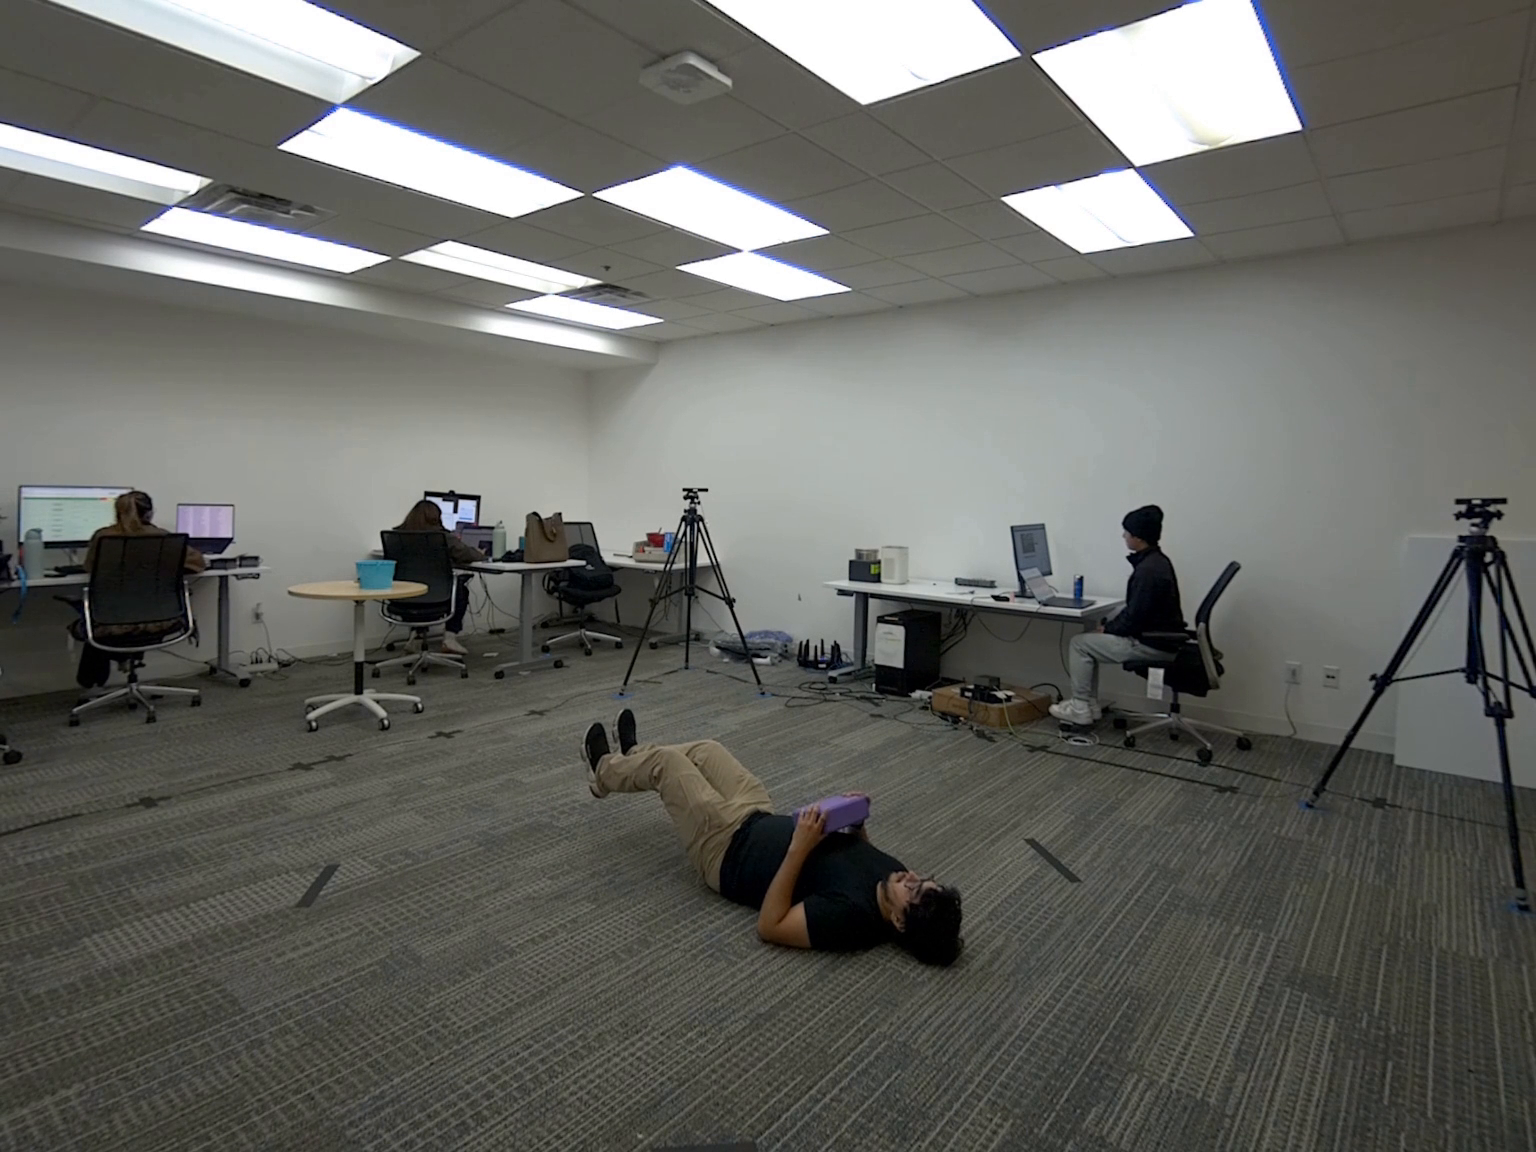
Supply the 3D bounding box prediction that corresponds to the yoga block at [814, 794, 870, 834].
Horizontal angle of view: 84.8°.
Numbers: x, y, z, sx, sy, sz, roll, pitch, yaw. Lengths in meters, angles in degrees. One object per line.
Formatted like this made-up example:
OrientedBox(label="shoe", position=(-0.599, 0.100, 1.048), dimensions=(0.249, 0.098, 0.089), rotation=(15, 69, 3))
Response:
OrientedBox(label="yoga block", position=(0.201, 0.791, 2.833), dimensions=(0.152, 0.077, 0.222), rotation=(-15, -8, 43))
